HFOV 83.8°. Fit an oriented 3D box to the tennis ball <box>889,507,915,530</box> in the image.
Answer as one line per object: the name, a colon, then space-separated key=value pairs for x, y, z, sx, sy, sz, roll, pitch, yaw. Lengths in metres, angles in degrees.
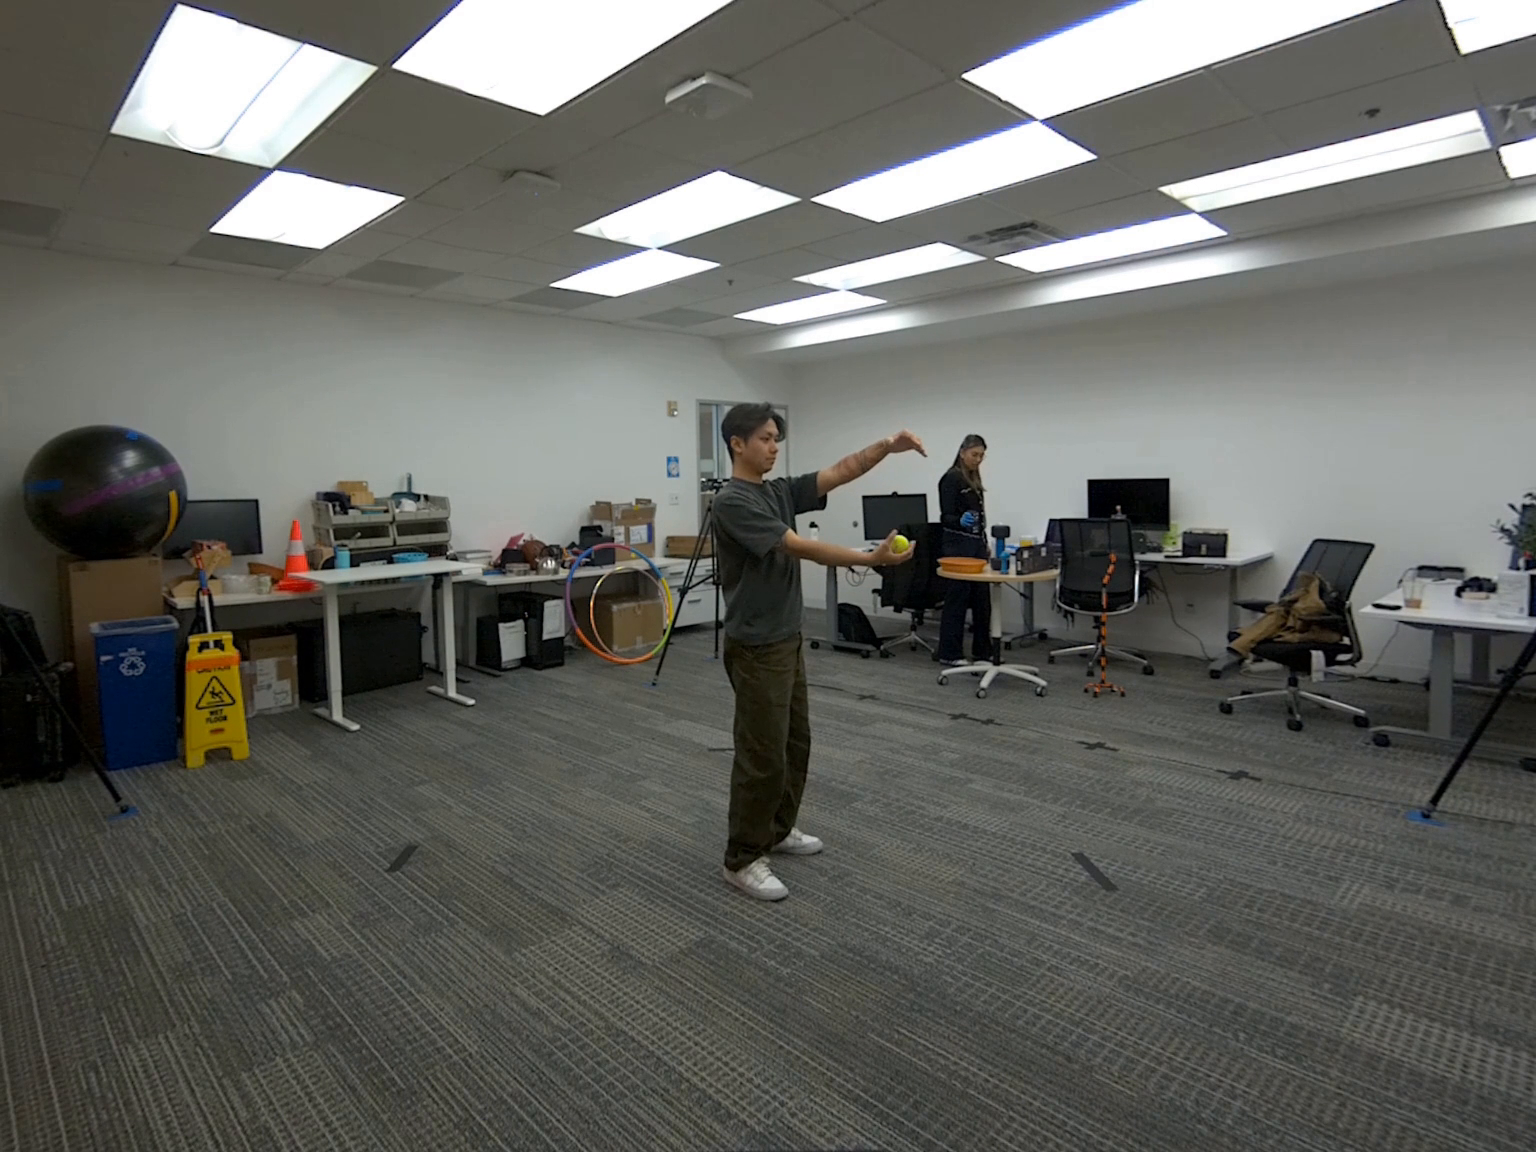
tennis ball: x=0.436 y=-0.190 z=2.800 sx=0.066 sy=0.066 sz=0.067 roll=-1 pitch=5 yaw=-2
